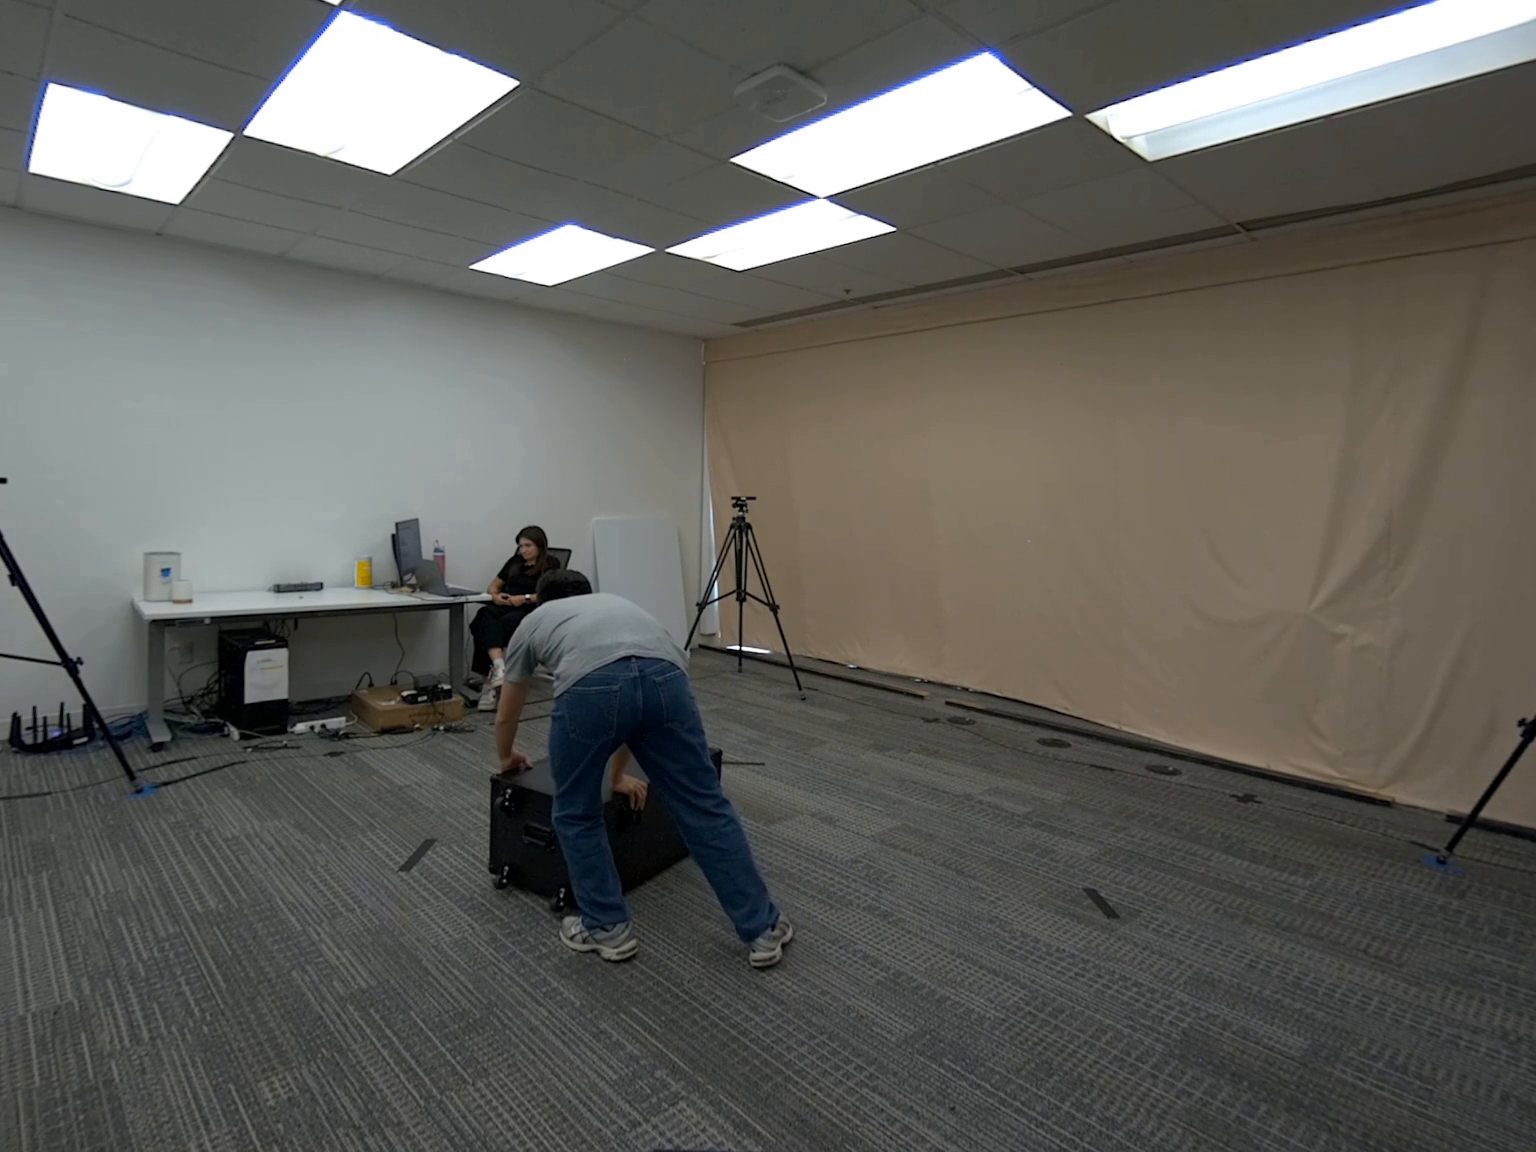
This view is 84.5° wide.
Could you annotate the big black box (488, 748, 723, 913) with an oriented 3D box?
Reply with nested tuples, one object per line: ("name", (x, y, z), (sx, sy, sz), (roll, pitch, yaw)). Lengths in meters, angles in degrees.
("big black box", (-0.615, 0.897, 3.178), (0.533, 0.395, 0.845), (6, 6, 30))
